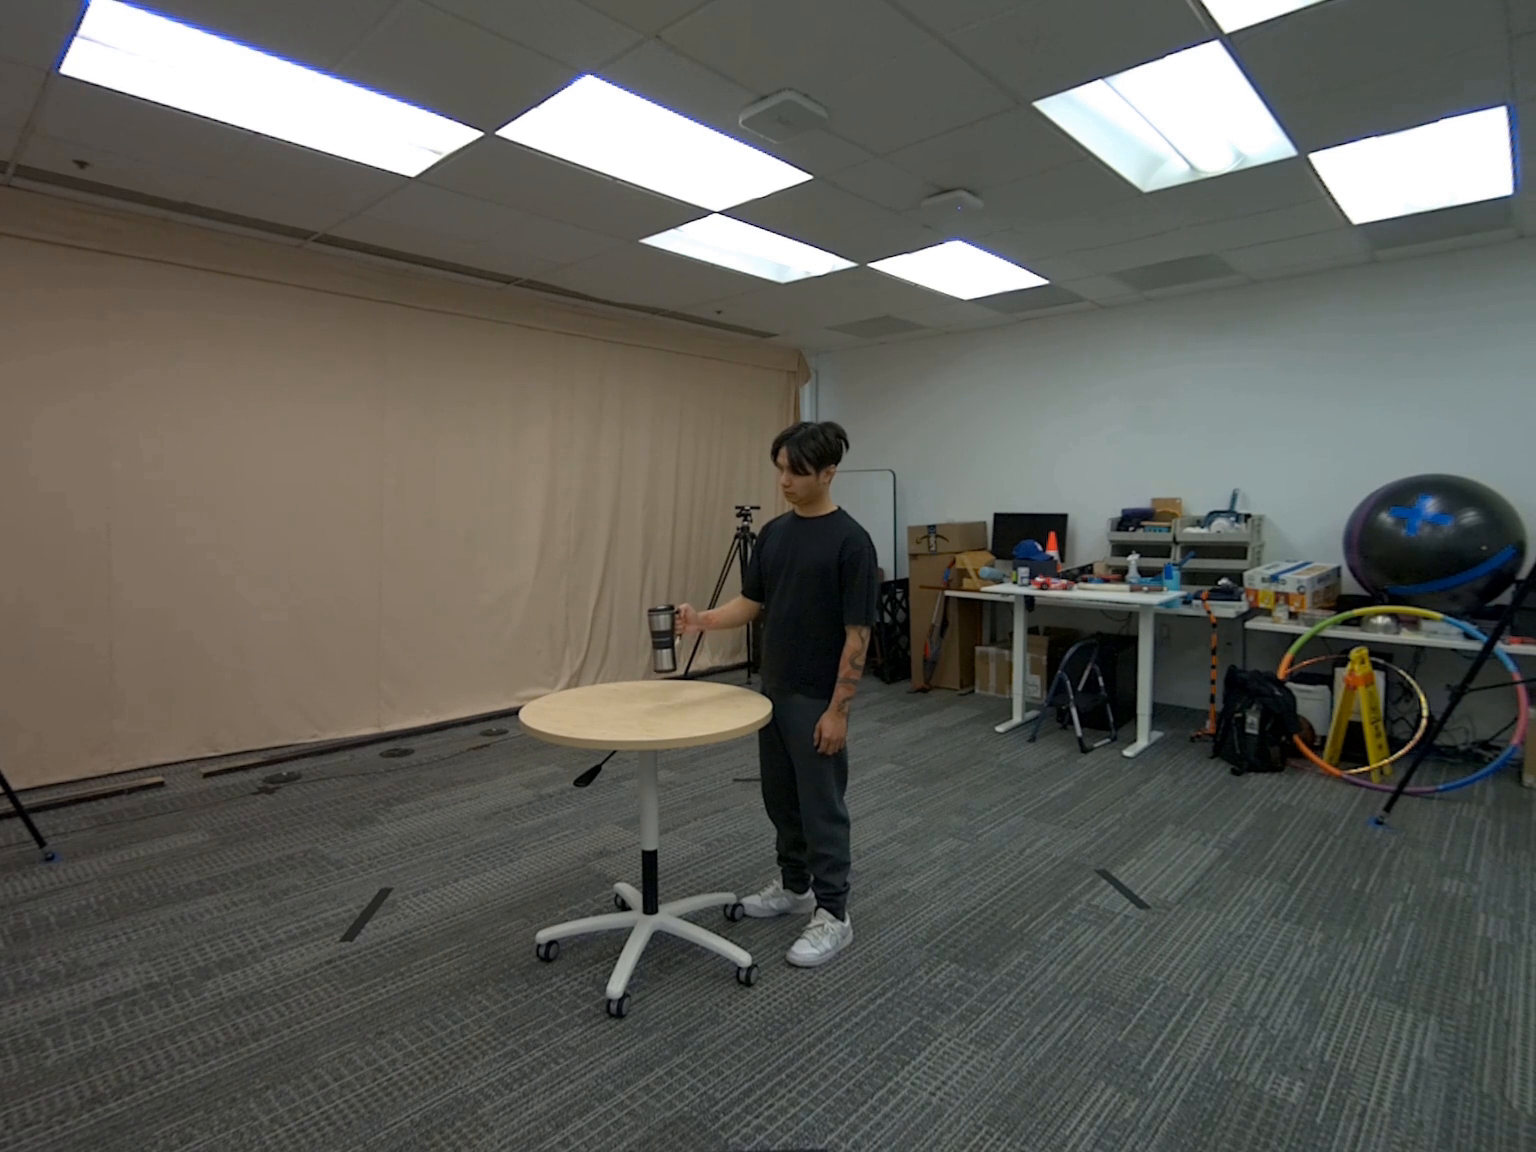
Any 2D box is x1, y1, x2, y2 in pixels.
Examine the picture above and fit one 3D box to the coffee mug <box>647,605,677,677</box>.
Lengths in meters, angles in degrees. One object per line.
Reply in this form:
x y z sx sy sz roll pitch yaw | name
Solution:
-0.298 0.192 2.614 0.119 0.203 0.090 -7 1 -33 | coffee mug
